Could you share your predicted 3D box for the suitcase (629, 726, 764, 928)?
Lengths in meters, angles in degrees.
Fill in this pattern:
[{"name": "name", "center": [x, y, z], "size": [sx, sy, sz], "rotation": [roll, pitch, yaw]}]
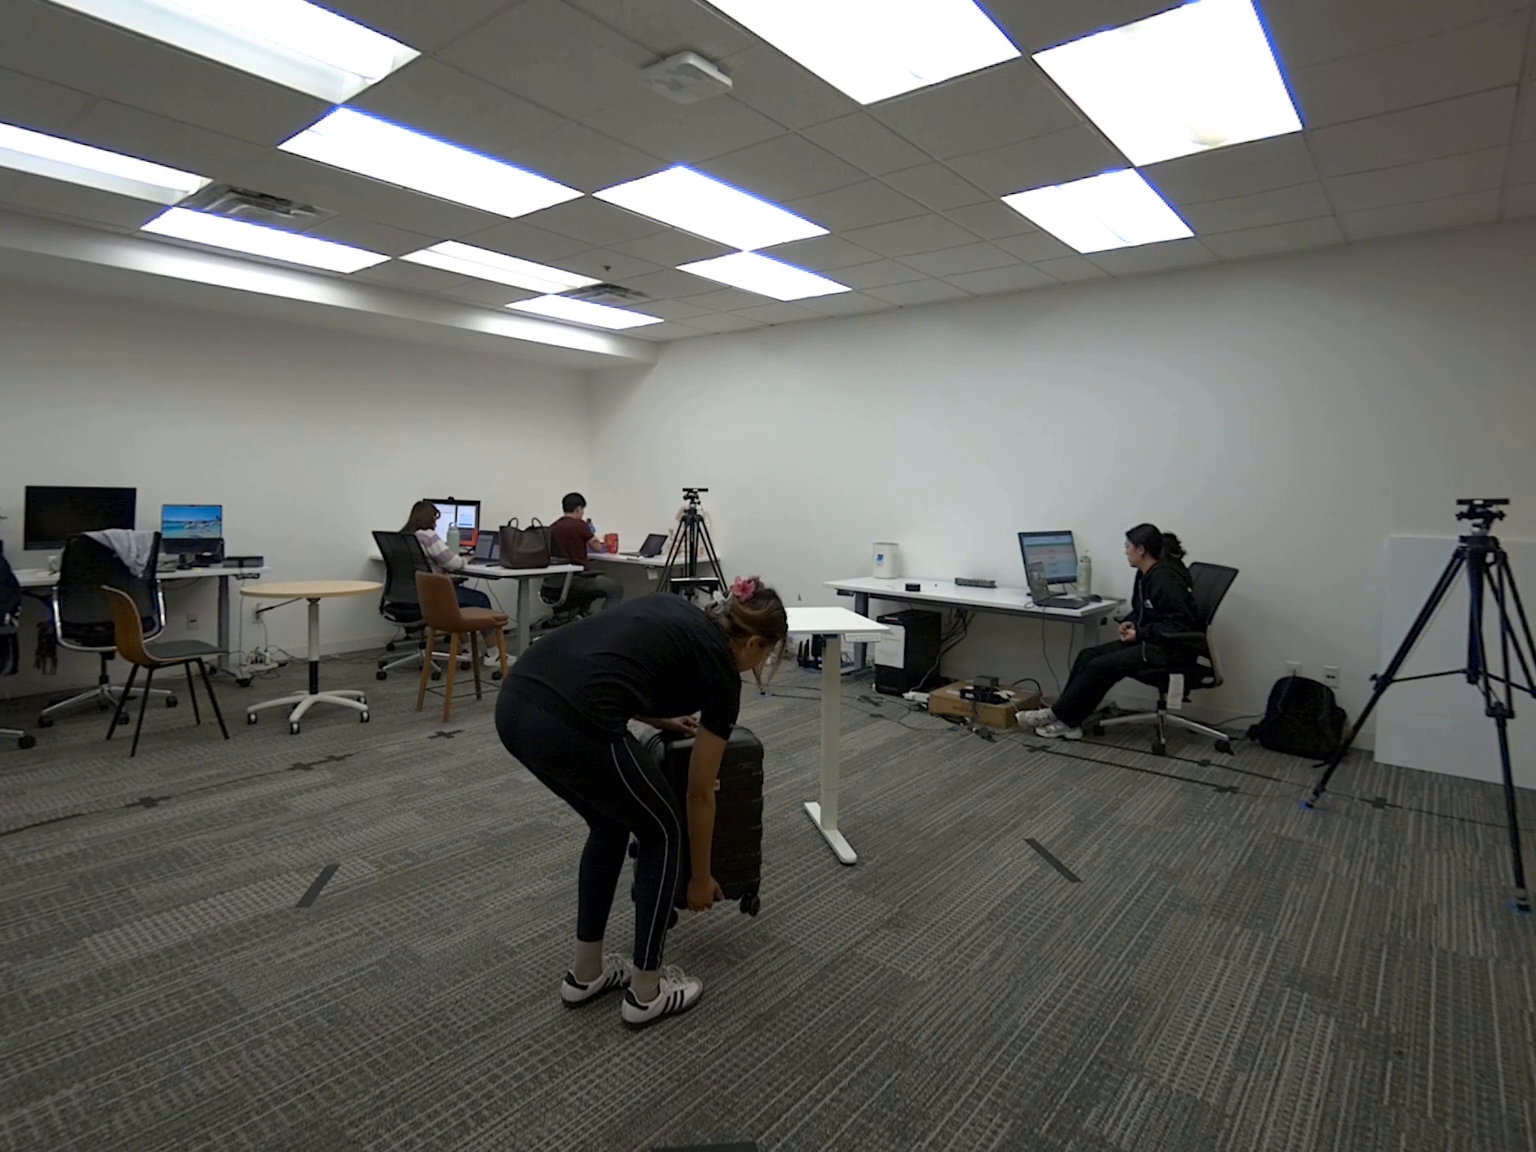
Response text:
[{"name": "suitcase", "center": [-0.199, 0.516, 2.549], "size": [0.376, 0.974, 0.263], "rotation": [1, 5, -21]}]
